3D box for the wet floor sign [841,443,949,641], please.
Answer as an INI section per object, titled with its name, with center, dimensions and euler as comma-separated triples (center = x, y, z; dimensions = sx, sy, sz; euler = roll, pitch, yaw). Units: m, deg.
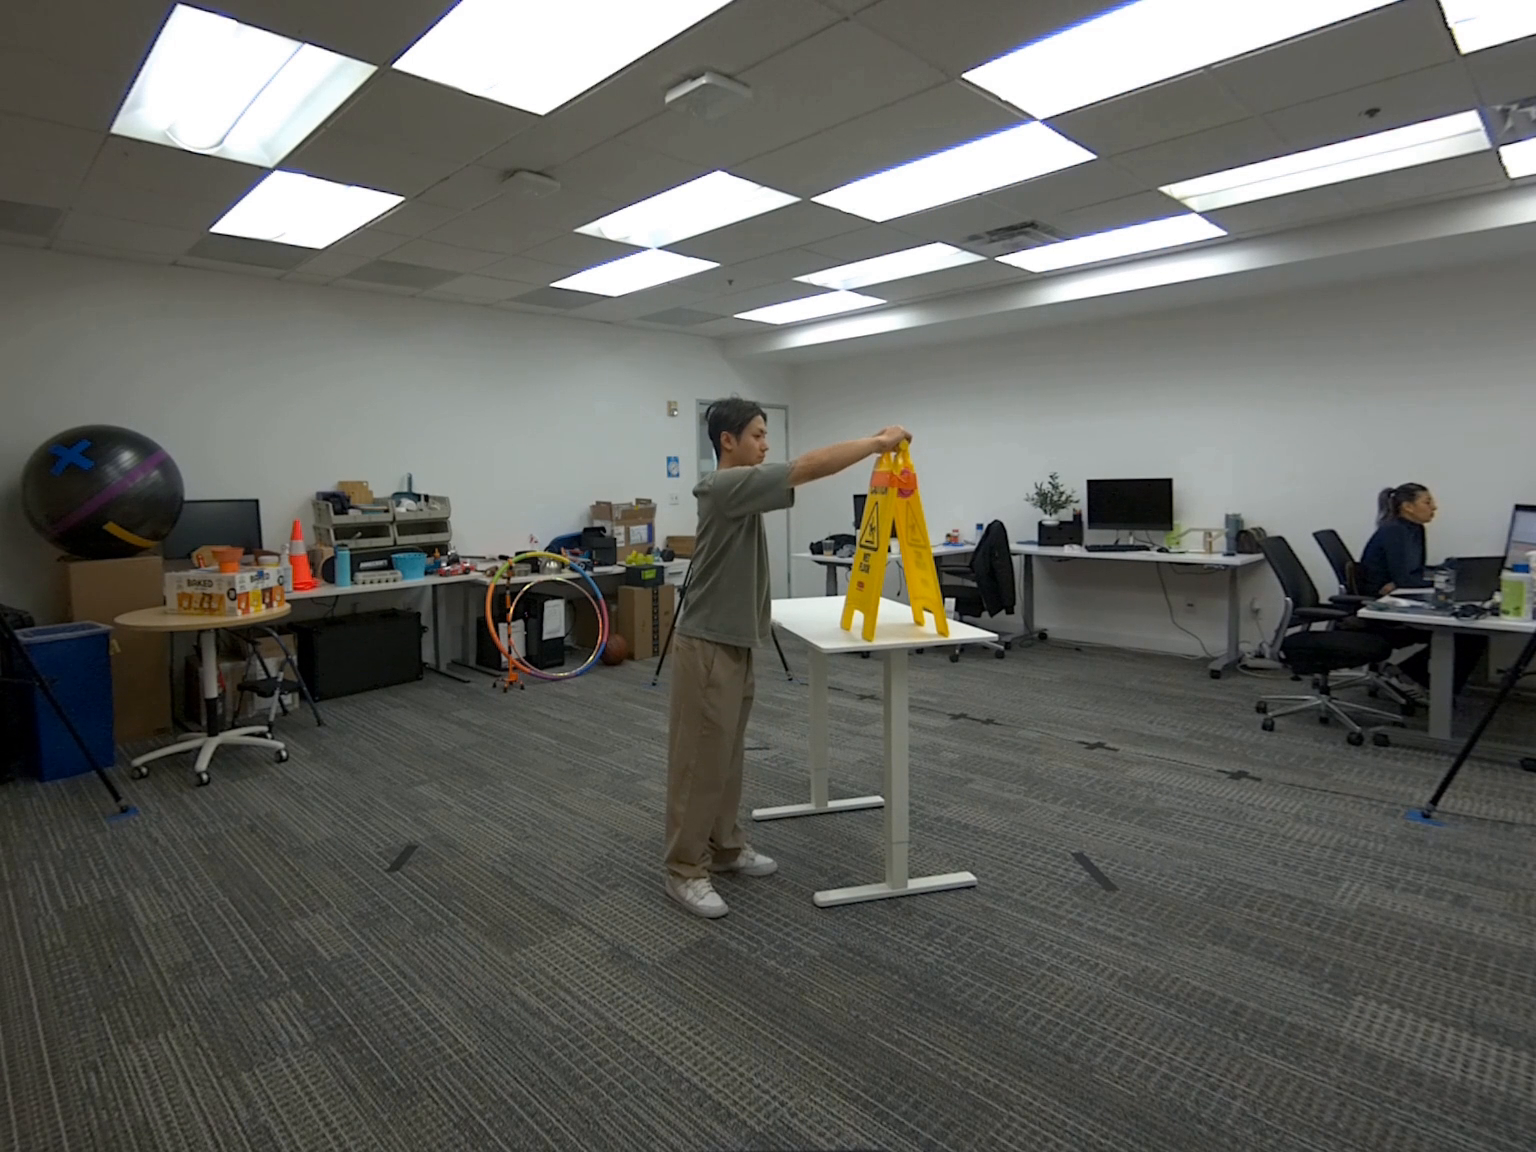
[wet floor sign]
center = 0.416, -0.133, 2.812
dimensions = 0.287, 0.643, 0.286
euler = -1, 4, -12
